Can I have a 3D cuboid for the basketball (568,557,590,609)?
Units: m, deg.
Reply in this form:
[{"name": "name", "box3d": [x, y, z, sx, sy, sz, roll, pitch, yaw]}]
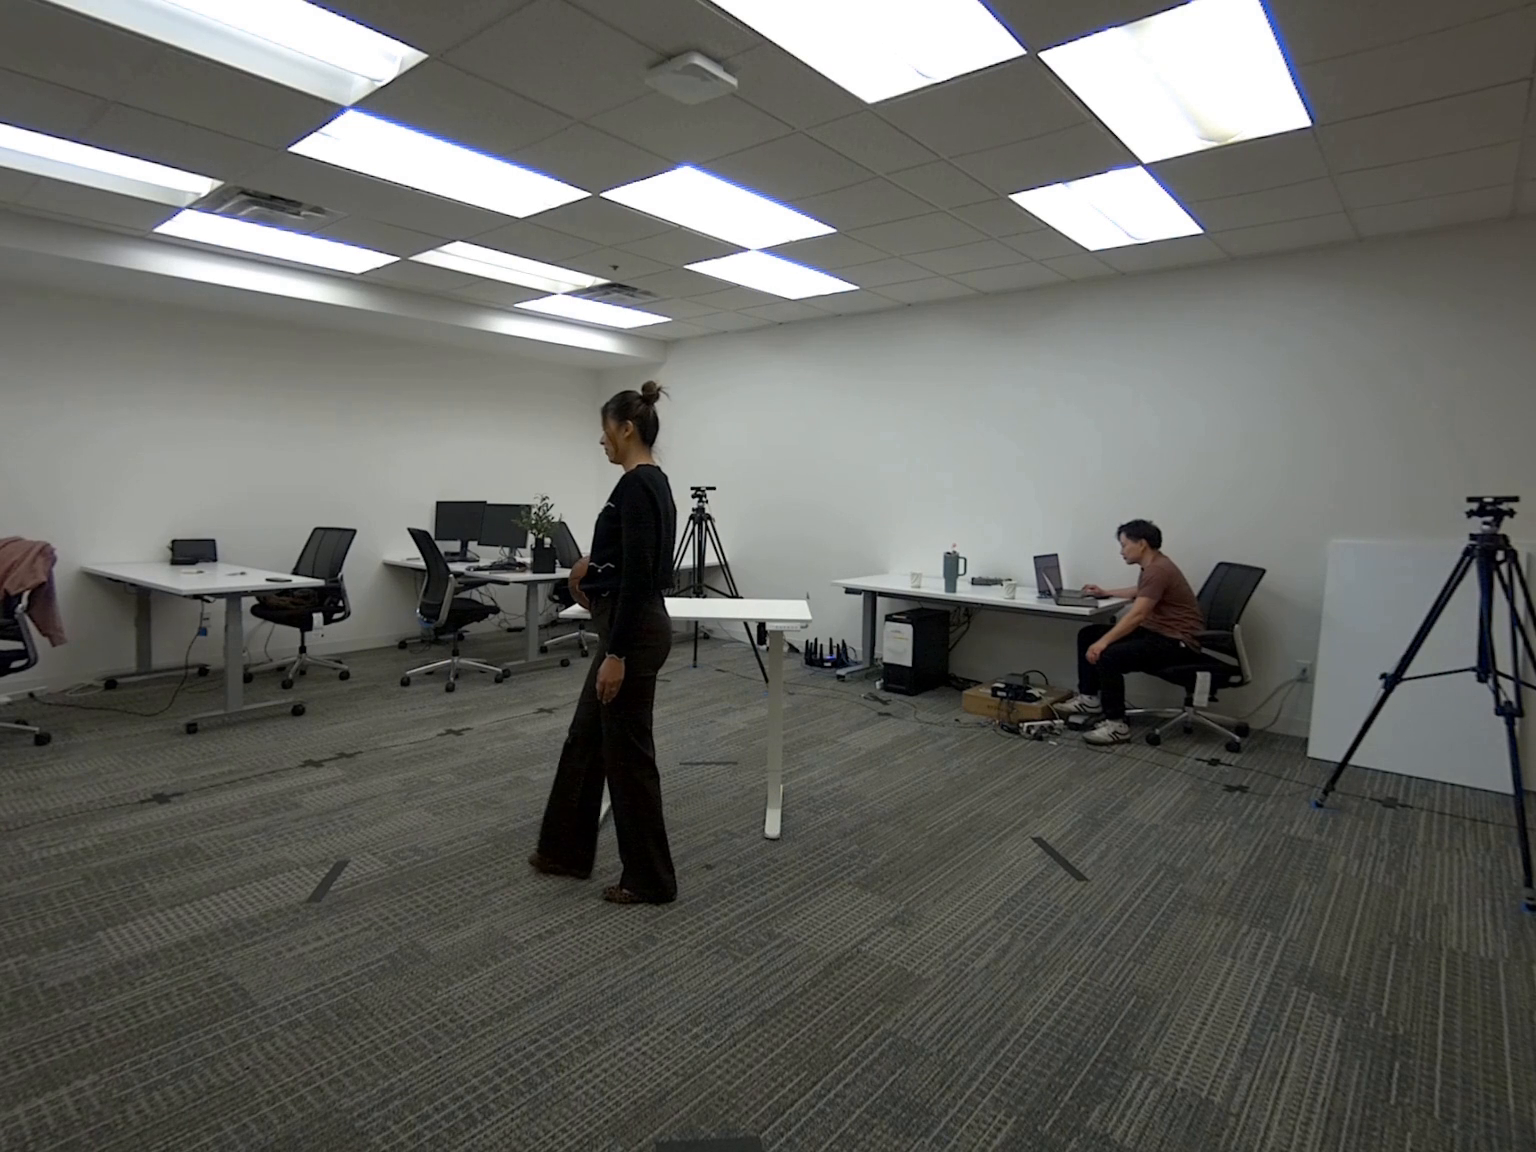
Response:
[{"name": "basketball", "box3d": [-0.707, 0.026, 3.453, 0.235, 0.235, 0.237, 1, 4, -2]}]
